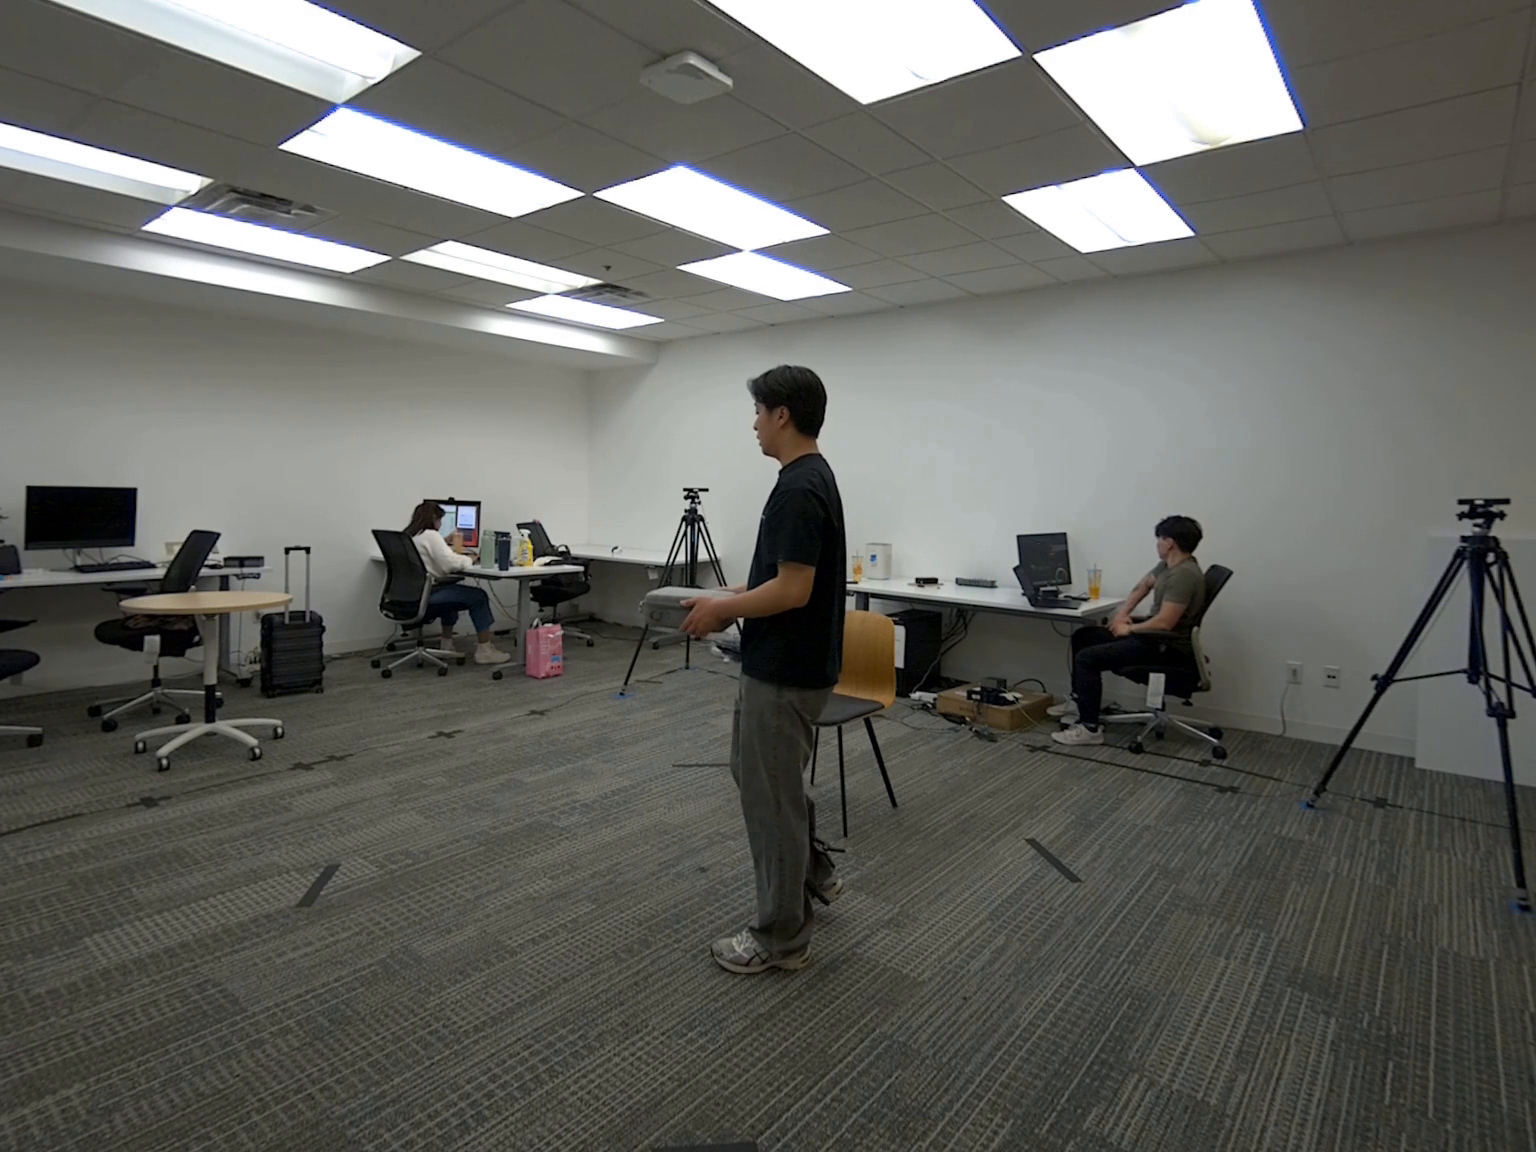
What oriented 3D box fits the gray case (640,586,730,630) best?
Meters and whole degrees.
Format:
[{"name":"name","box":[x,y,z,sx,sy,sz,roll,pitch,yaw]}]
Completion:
[{"name":"gray case","box":[-0.246,0.096,2.607,0.290,0.102,0.262,3,6,8]}]
